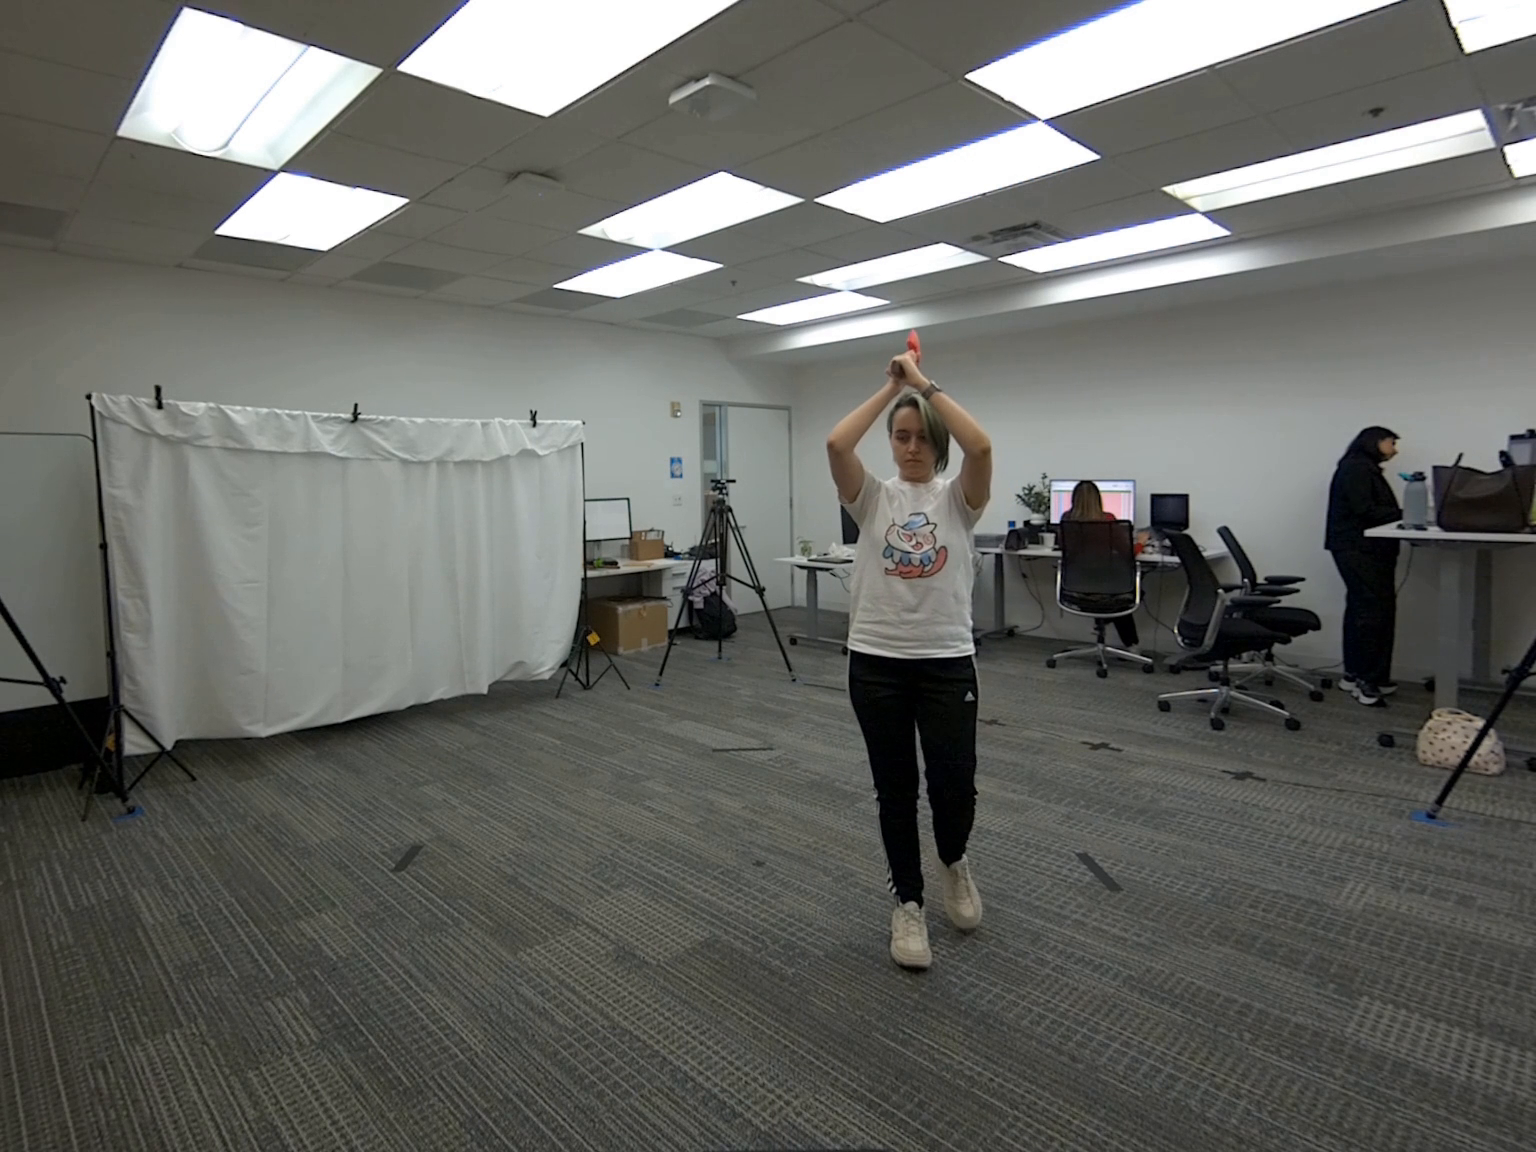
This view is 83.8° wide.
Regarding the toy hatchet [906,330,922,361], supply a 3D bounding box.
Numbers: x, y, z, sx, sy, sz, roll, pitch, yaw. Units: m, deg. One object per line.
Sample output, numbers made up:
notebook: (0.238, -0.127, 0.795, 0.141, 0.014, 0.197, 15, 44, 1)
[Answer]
toy hatchet: (0.398, -0.632, 2.378, 0.030, 0.130, 0.266, 4, 11, 21)
